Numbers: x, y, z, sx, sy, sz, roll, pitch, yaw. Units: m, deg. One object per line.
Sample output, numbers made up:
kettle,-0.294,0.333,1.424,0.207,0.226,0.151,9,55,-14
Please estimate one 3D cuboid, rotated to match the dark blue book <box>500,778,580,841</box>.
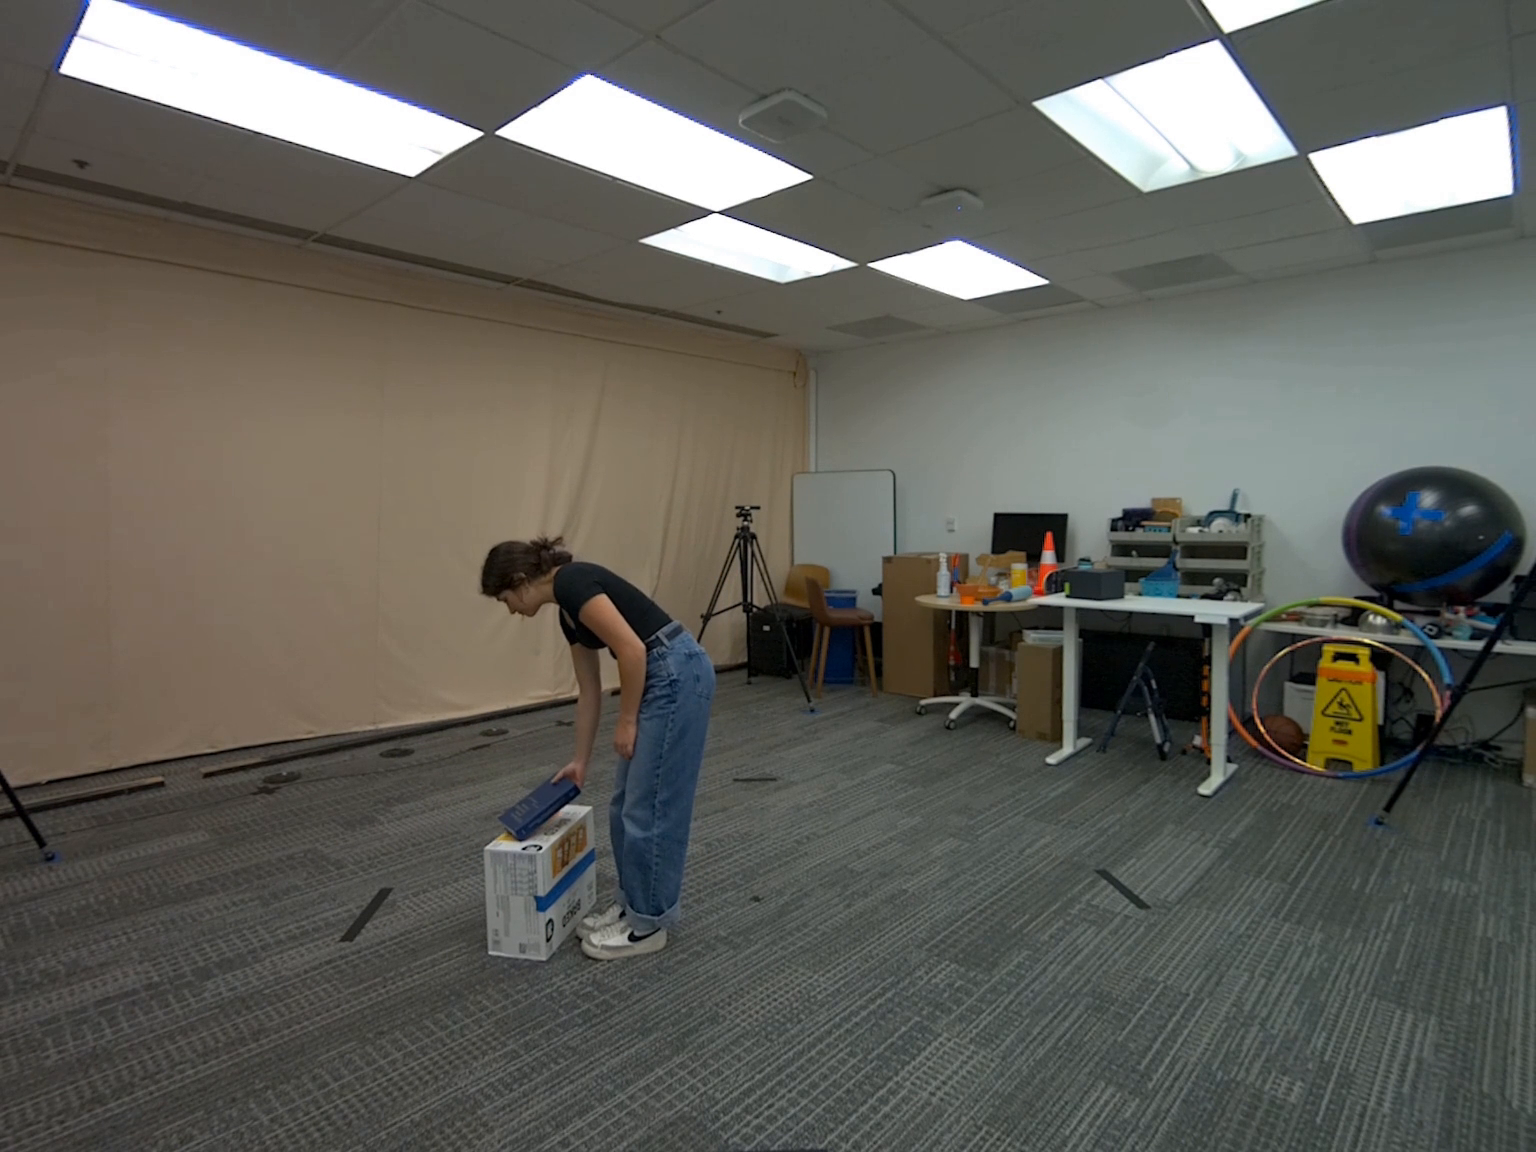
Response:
dark blue book,-0.756,0.759,2.771,0.242,0.044,0.168,-36,17,-27
